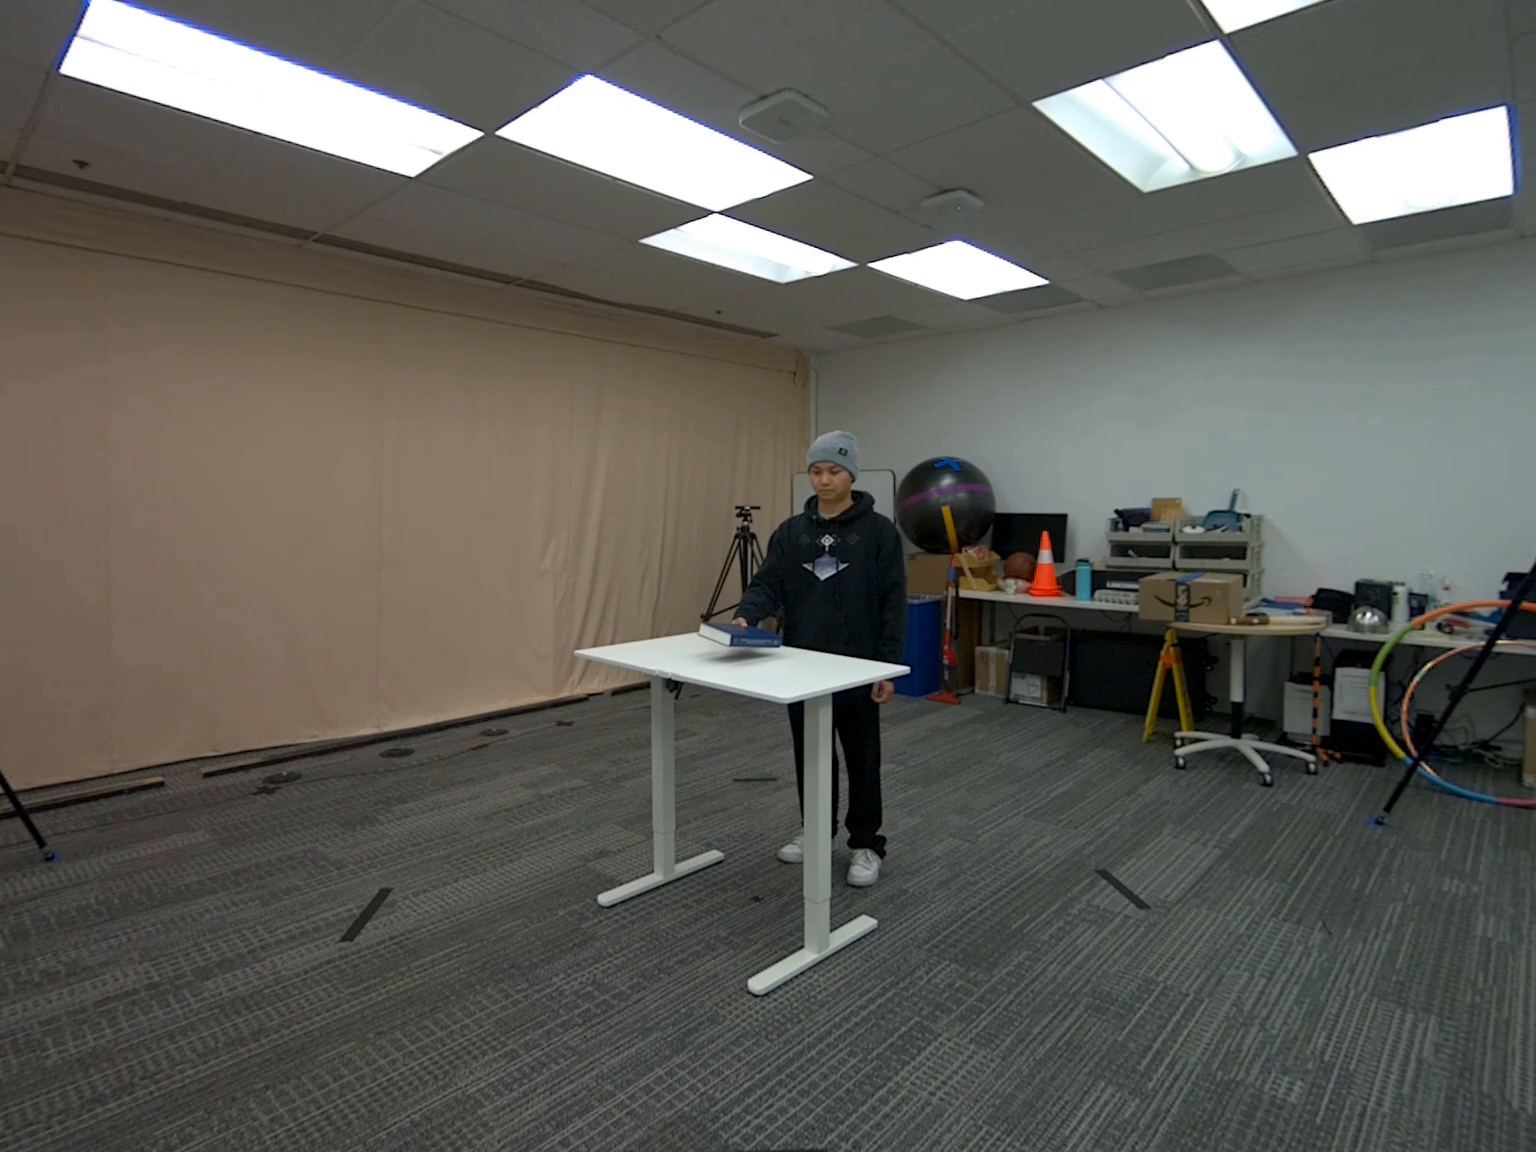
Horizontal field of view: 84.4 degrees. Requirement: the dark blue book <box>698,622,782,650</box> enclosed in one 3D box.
[{"bbox_3d":[-0.079,0.202,2.830,0.237,0.045,0.169,7,5,-42],"label":"dark blue book"}]
